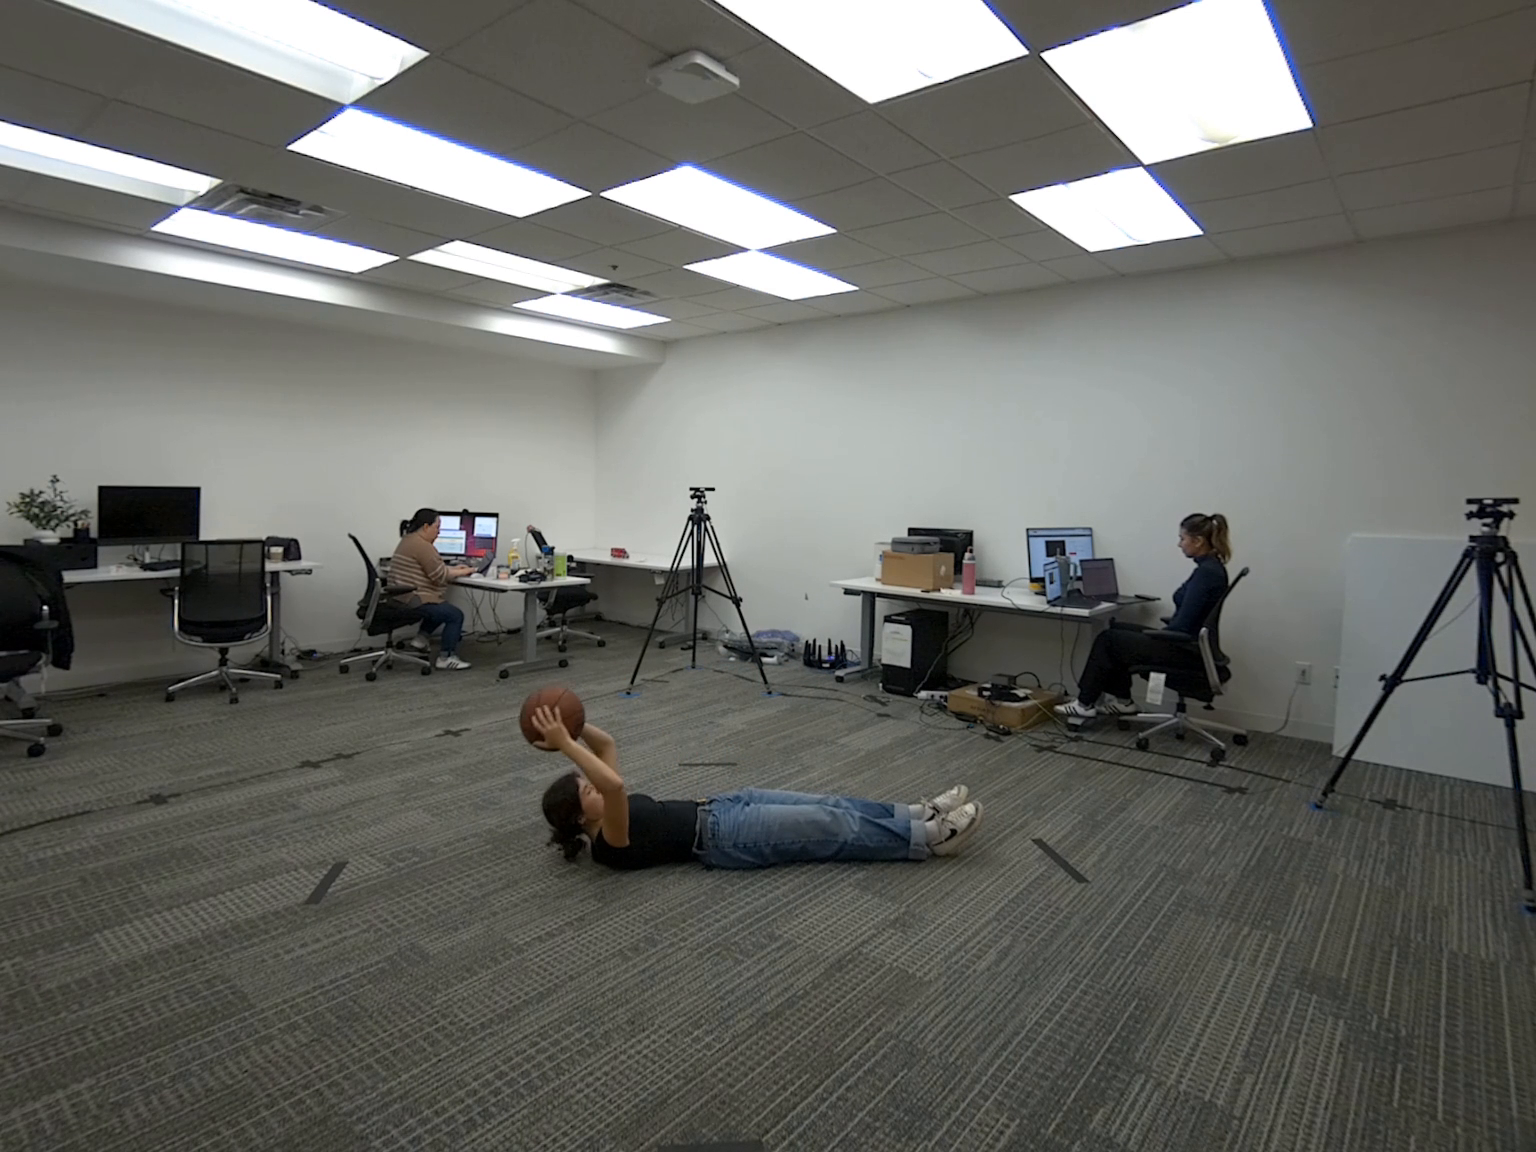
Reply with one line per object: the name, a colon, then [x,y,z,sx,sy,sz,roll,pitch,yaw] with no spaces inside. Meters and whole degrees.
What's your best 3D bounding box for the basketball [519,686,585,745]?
basketball: [-0.801,0.530,3.128,0.235,0.235,0.237,1,4,-2]
